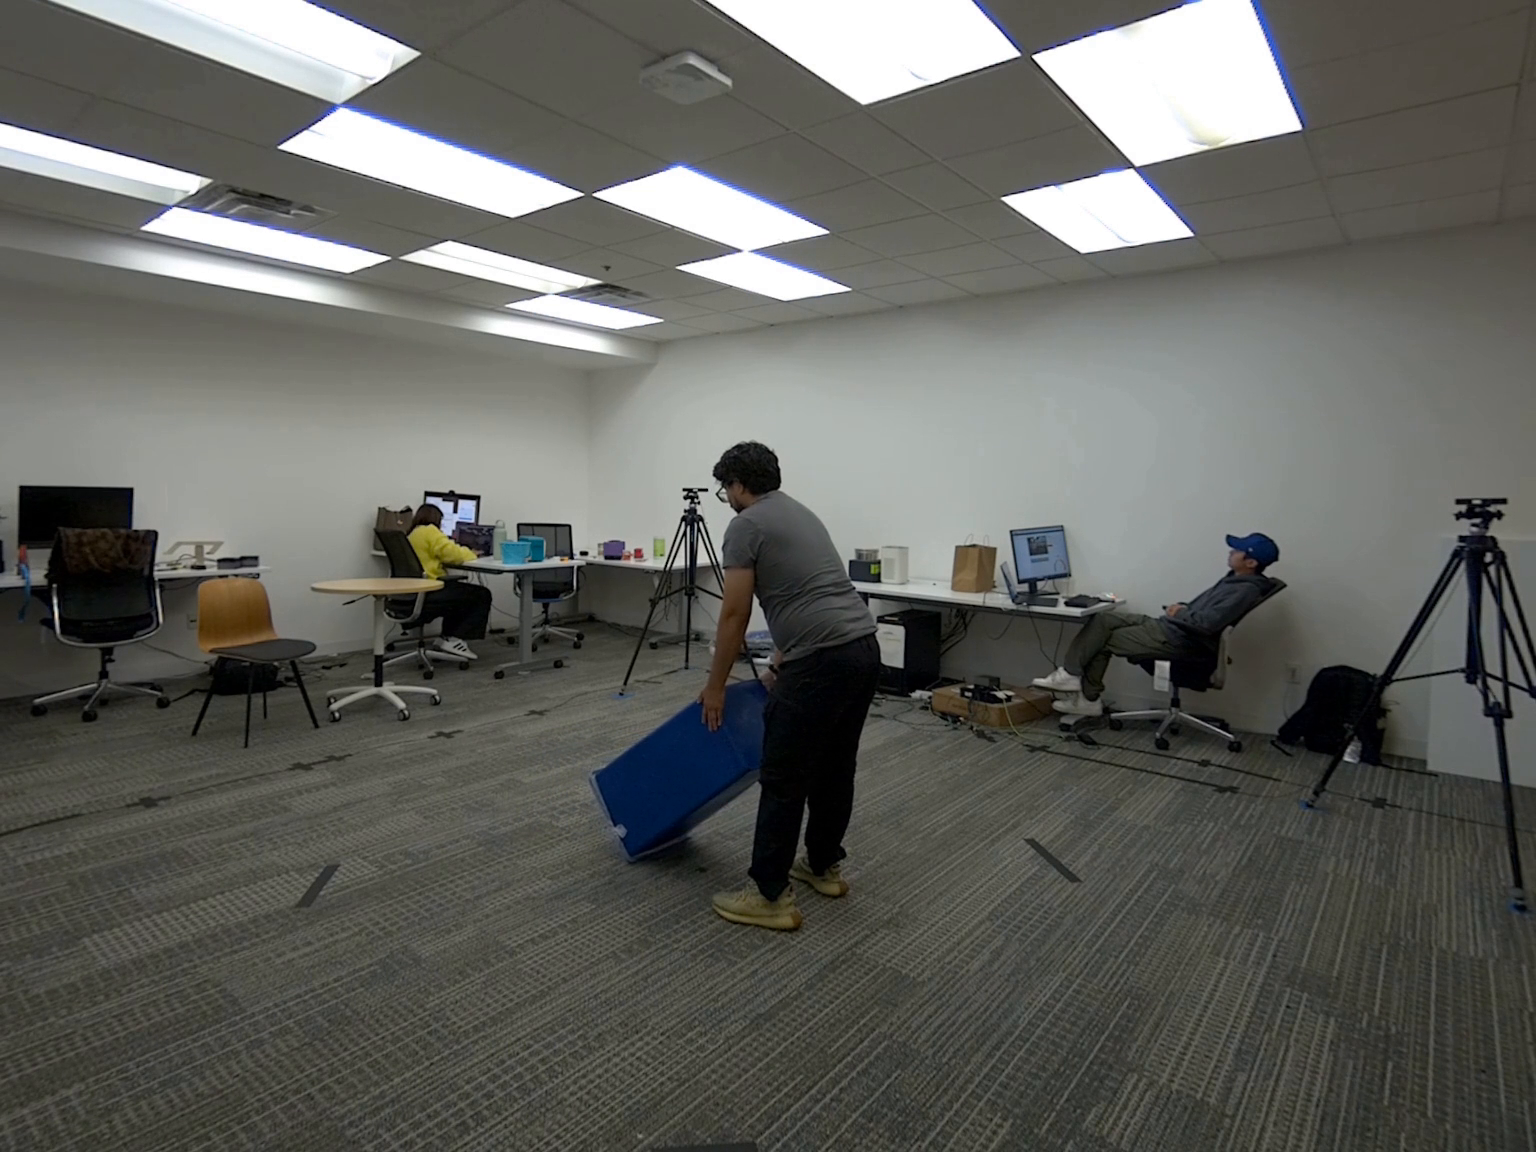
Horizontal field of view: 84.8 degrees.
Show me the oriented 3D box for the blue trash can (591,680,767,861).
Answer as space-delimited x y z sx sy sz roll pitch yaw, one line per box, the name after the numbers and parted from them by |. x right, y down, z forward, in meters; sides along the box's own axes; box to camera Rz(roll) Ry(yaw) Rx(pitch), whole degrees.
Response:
-0.283 0.708 3.153 0.716 0.388 0.363 -41 -22 32 | blue trash can
